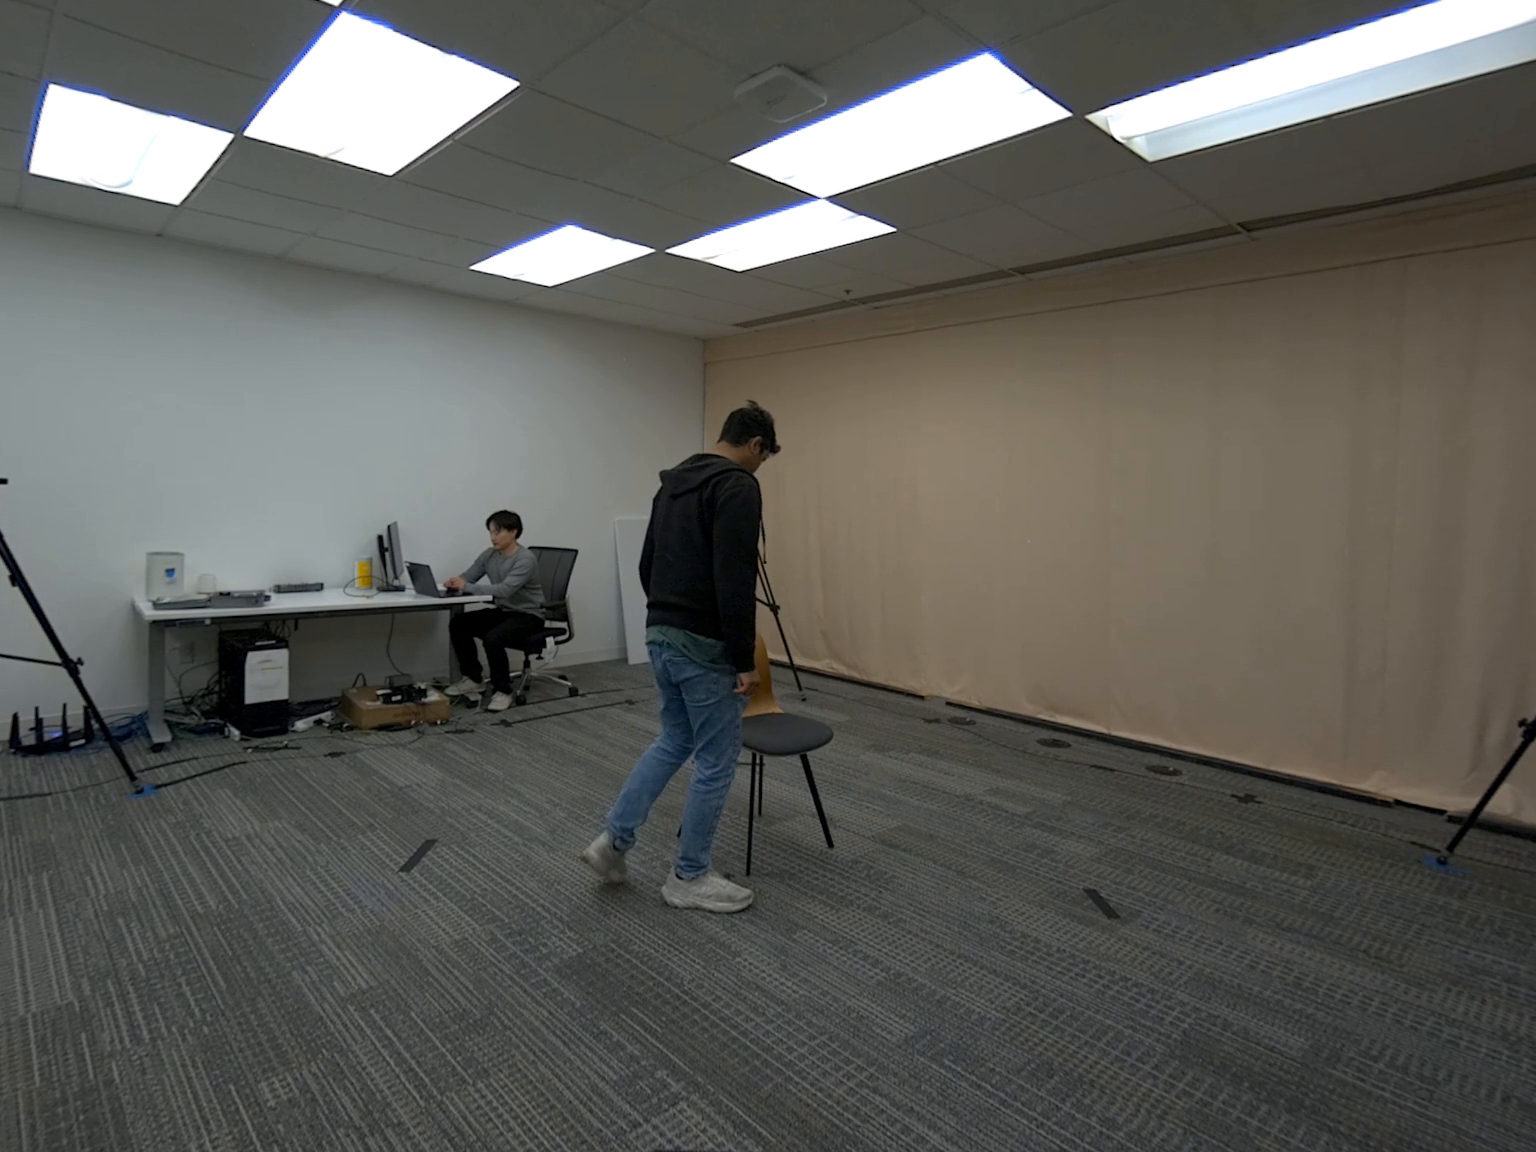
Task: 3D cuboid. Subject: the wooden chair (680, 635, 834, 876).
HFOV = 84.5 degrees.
[{"bbox_3d":[-0.044,0.661,3.382,0.467,0.878,0.535,0,-1,-40],"label":"wooden chair"}]
